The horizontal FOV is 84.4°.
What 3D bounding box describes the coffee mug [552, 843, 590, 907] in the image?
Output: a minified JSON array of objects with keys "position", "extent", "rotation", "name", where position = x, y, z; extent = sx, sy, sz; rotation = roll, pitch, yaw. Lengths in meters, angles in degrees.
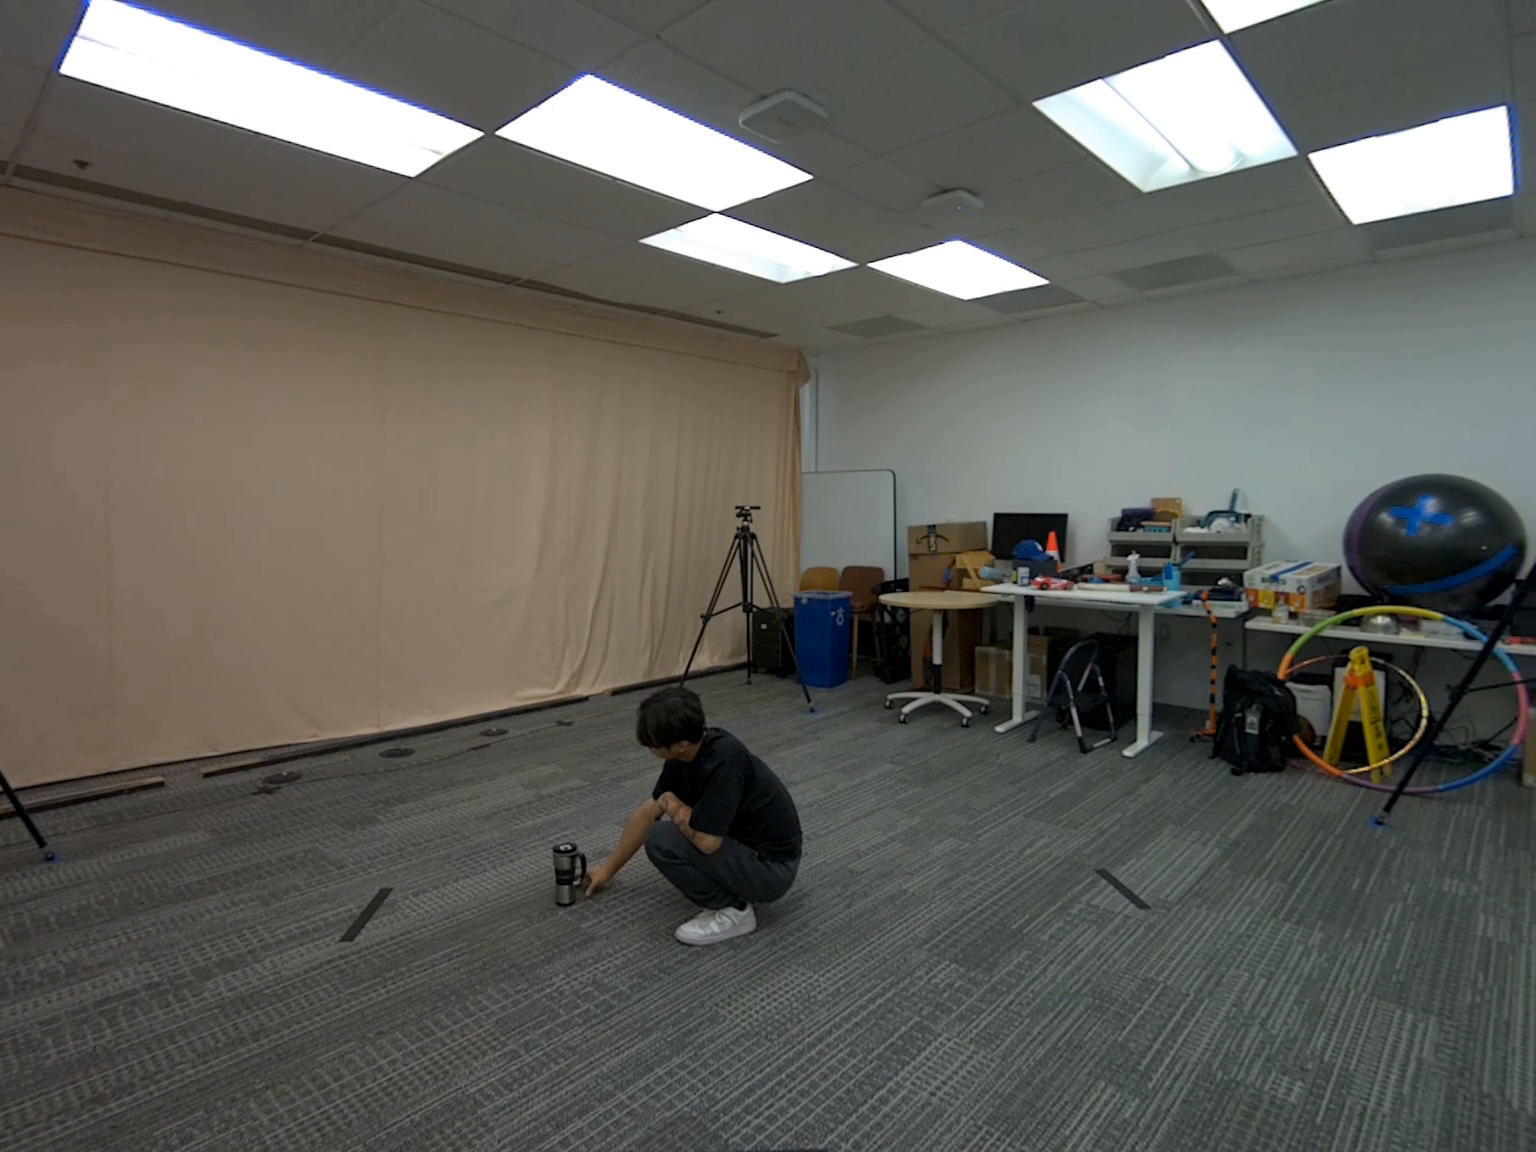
[{"position":[-0.703,1.060,2.945],"extent":[0.126,0.203,0.085],"rotation":[-1,-4,39],"name":"coffee mug"}]
